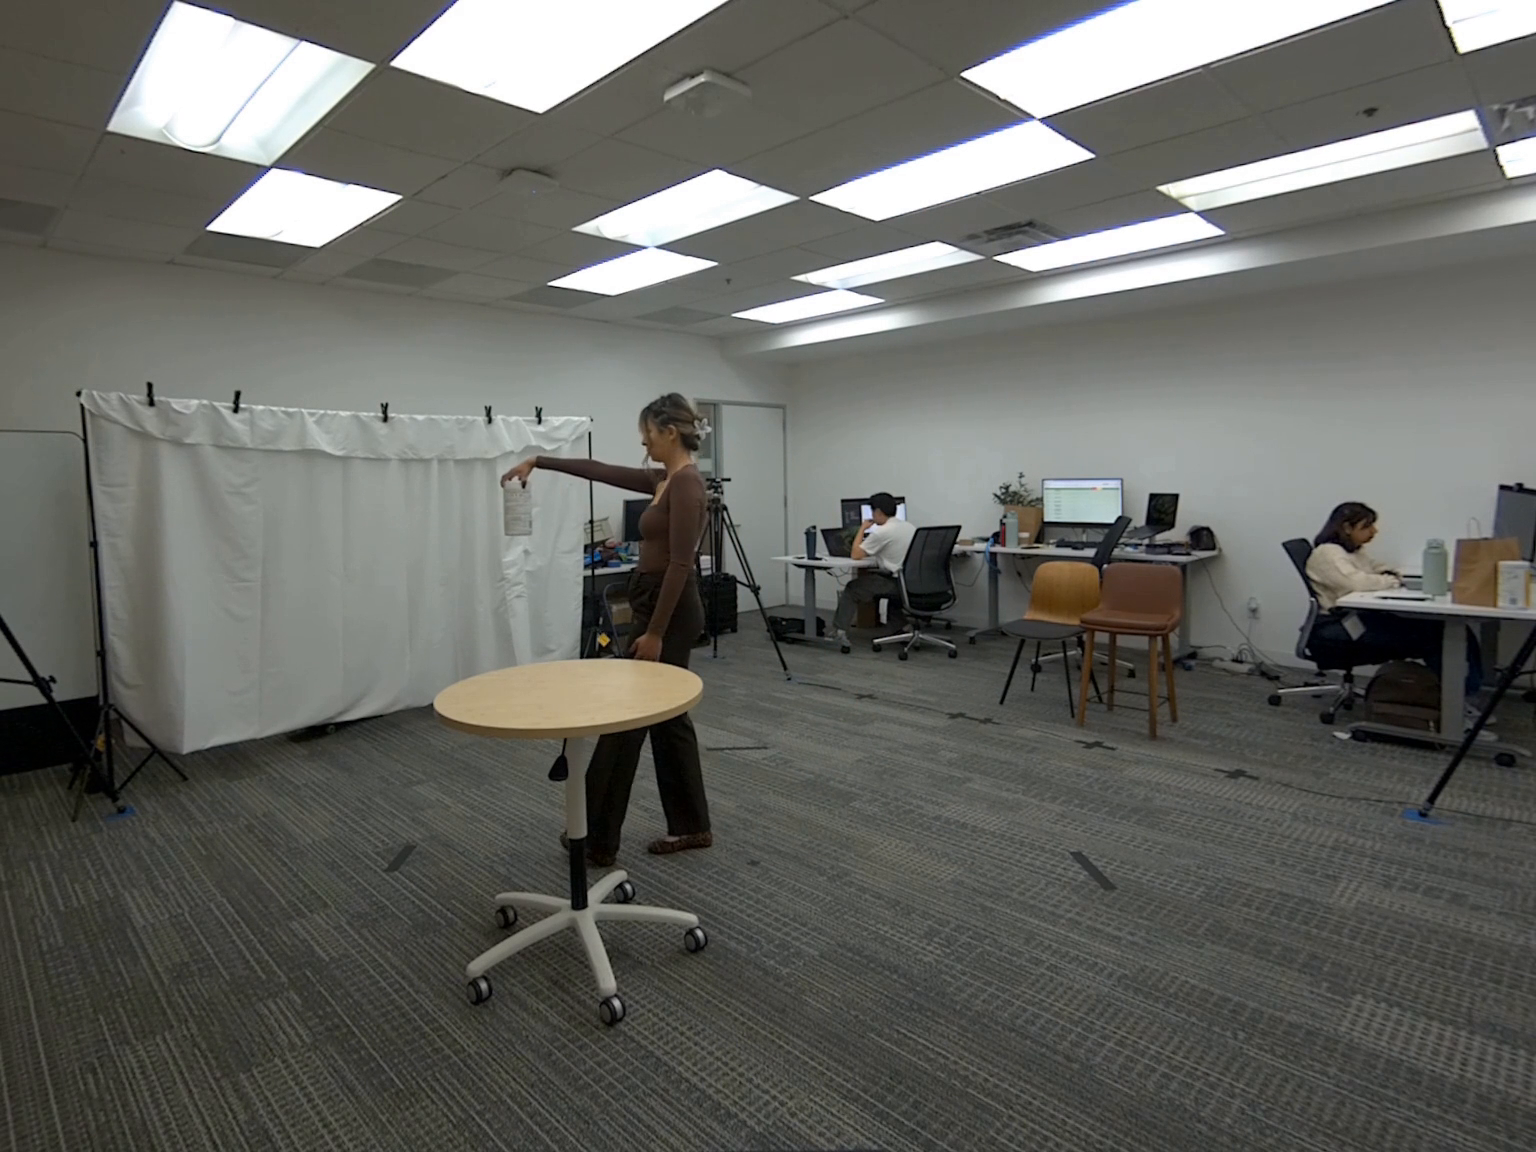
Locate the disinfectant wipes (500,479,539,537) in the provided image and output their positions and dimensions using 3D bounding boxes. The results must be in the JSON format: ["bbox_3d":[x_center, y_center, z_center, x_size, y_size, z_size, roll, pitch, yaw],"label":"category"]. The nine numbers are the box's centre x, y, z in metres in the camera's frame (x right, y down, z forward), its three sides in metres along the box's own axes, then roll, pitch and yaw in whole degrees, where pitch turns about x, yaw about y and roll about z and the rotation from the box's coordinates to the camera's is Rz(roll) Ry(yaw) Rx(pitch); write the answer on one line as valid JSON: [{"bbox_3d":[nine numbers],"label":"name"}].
[{"bbox_3d":[-0.977,-0.270,3.363,0.118,0.217,0.118,-1,2,-2],"label":"disinfectant wipes"}]
